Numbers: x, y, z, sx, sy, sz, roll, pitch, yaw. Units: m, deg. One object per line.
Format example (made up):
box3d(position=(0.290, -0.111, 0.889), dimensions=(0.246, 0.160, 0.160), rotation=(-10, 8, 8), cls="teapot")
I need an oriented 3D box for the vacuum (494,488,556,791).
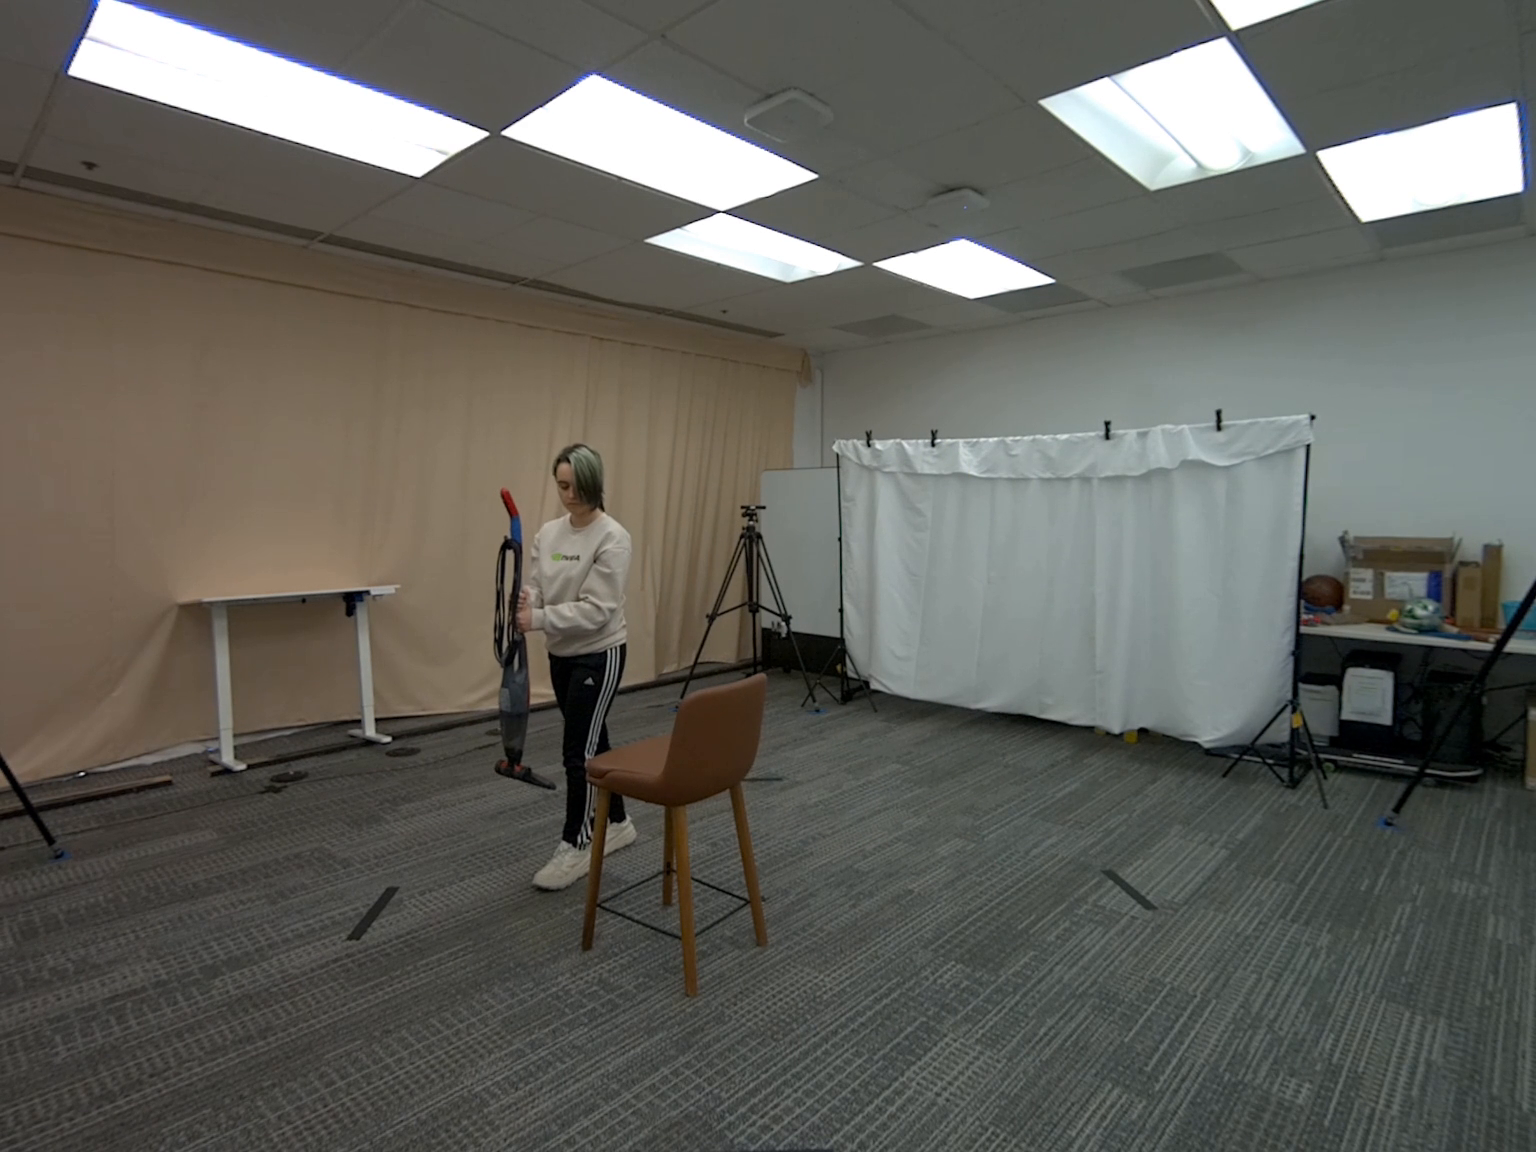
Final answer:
box3d(position=(-0.899, 0.222, 2.965), dimensions=(0.259, 1.041, 0.141), rotation=(6, 13, 25), cls="vacuum")
